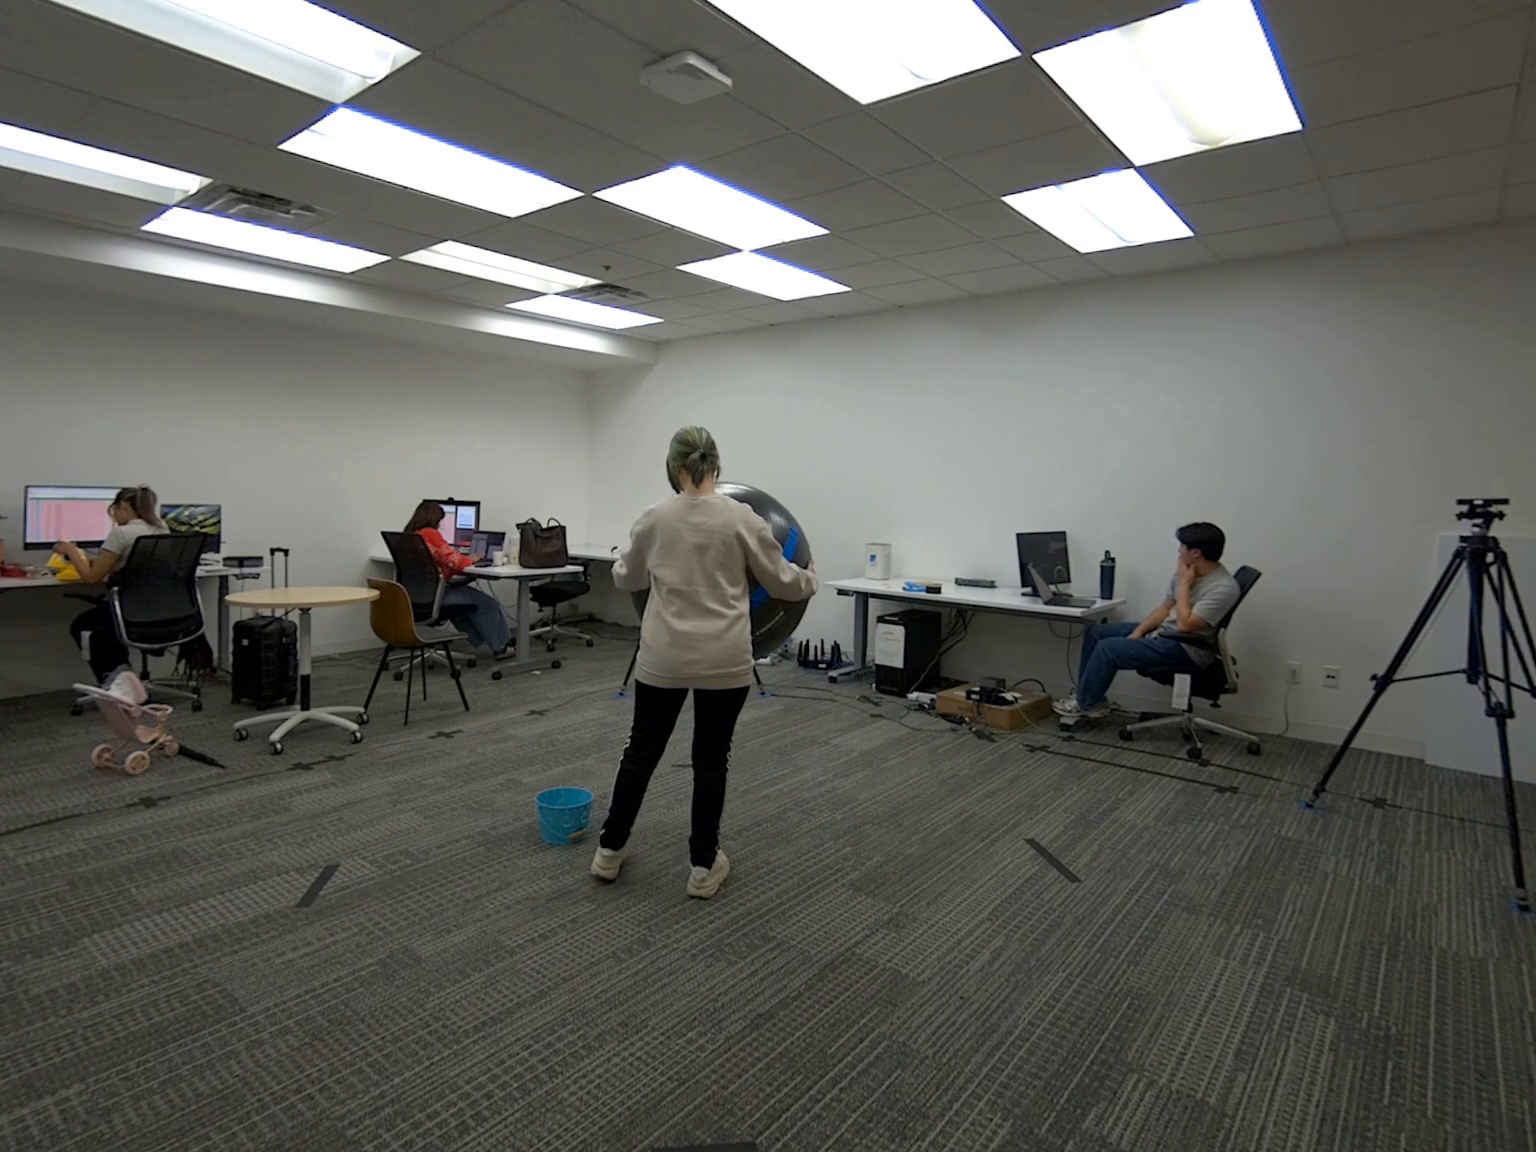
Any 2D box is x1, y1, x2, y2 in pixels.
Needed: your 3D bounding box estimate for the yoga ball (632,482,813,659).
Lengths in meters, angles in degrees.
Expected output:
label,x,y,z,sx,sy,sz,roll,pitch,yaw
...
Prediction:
label,x,y,z,sx,sy,sz,roll,pitch,yaw
yoga ball,-0.197,0.003,3.480,0.757,0.755,0.762,1,4,-2
